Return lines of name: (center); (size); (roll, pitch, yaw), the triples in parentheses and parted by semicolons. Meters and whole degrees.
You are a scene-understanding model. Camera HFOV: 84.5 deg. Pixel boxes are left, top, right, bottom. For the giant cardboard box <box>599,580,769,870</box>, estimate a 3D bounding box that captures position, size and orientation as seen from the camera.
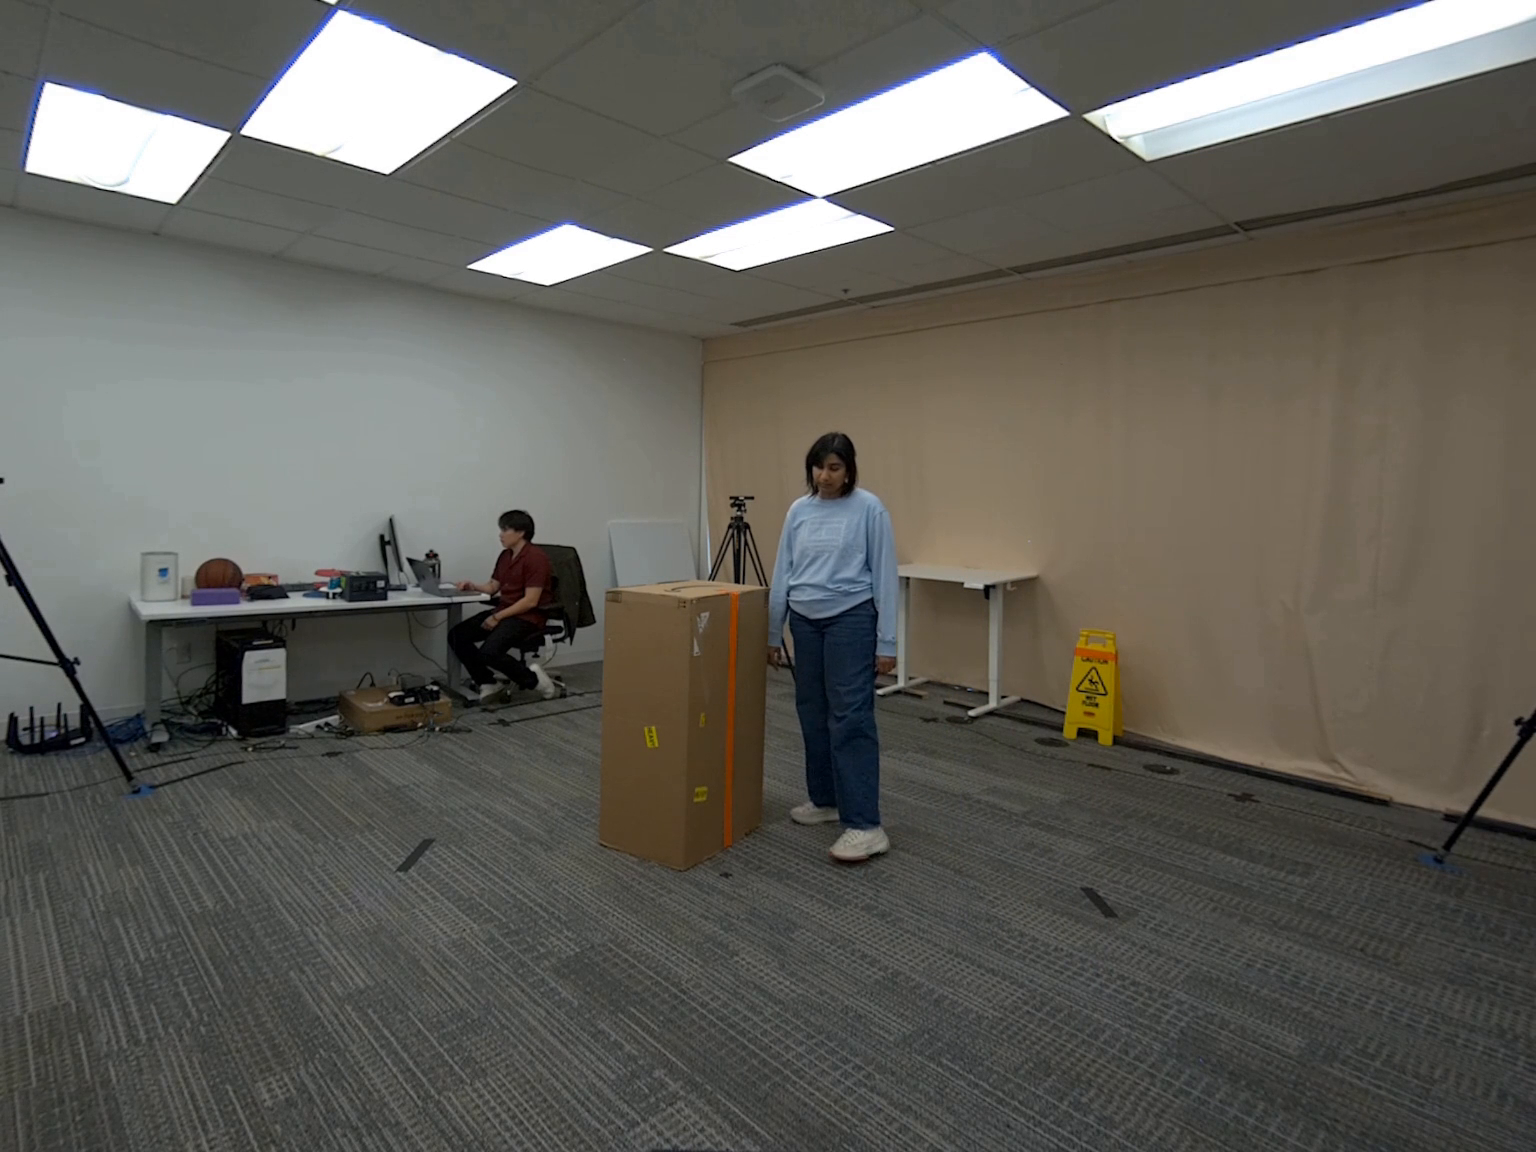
giant cardboard box: (-0.340, 0.563, 3.447); (0.436, 1.024, 0.566); (3, 3, 32)
